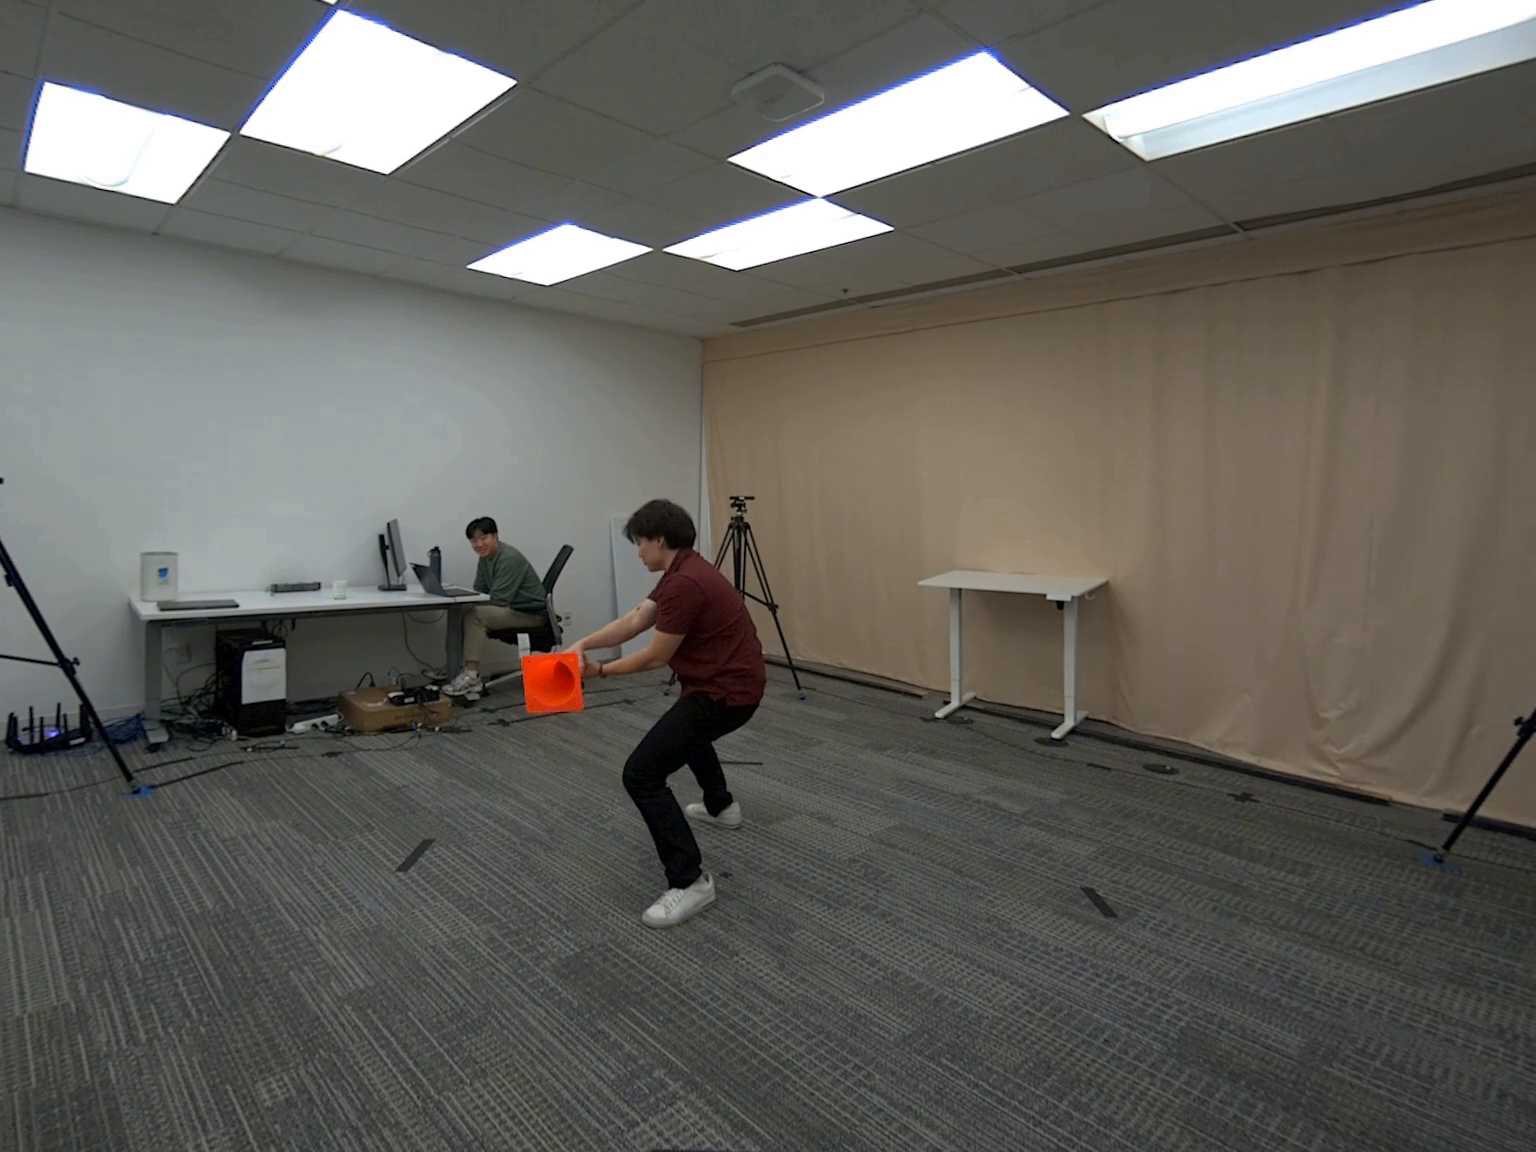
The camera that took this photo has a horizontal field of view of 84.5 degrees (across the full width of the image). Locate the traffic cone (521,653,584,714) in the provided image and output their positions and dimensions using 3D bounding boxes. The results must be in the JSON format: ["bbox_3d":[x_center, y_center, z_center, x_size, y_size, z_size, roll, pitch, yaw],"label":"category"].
[{"bbox_3d":[-0.712,0.350,3.023,0.206,0.203,0.382,-8,2,6],"label":"traffic cone"}]
